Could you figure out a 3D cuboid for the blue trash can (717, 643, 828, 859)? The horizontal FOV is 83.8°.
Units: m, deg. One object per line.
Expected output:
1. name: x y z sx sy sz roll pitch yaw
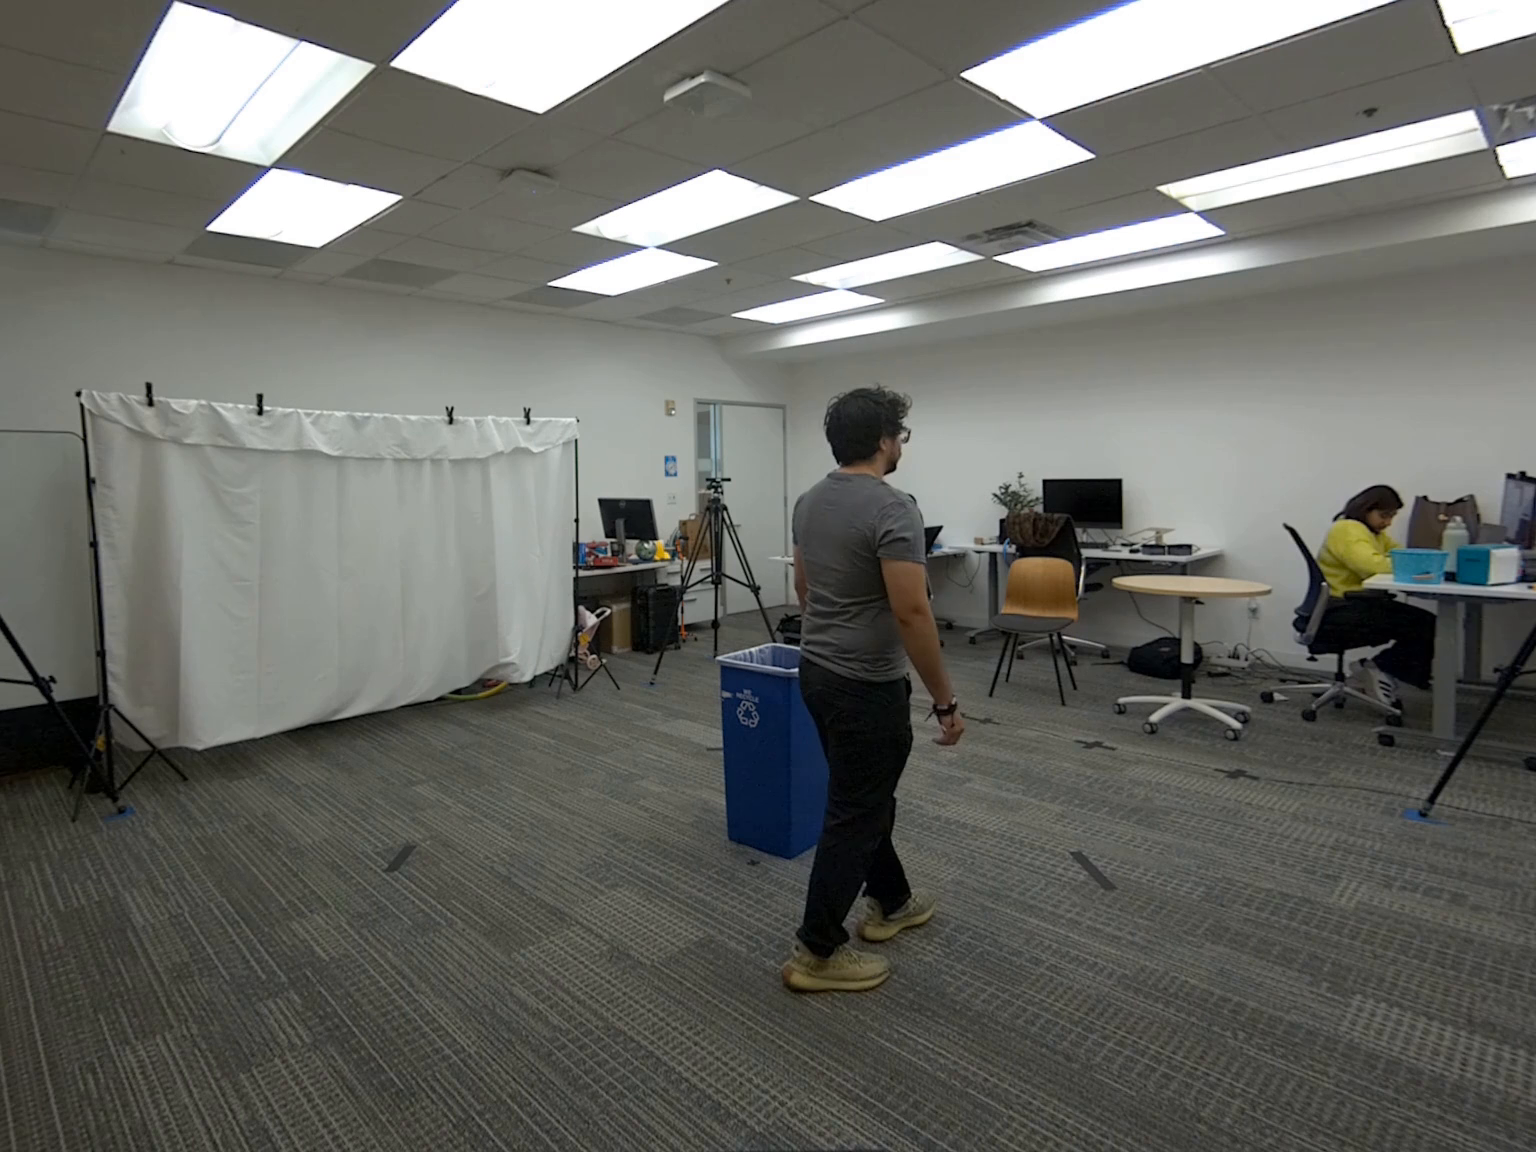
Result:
1. blue trash can: 0.054 0.660 3.304 0.385 0.711 0.368 2 5 38
